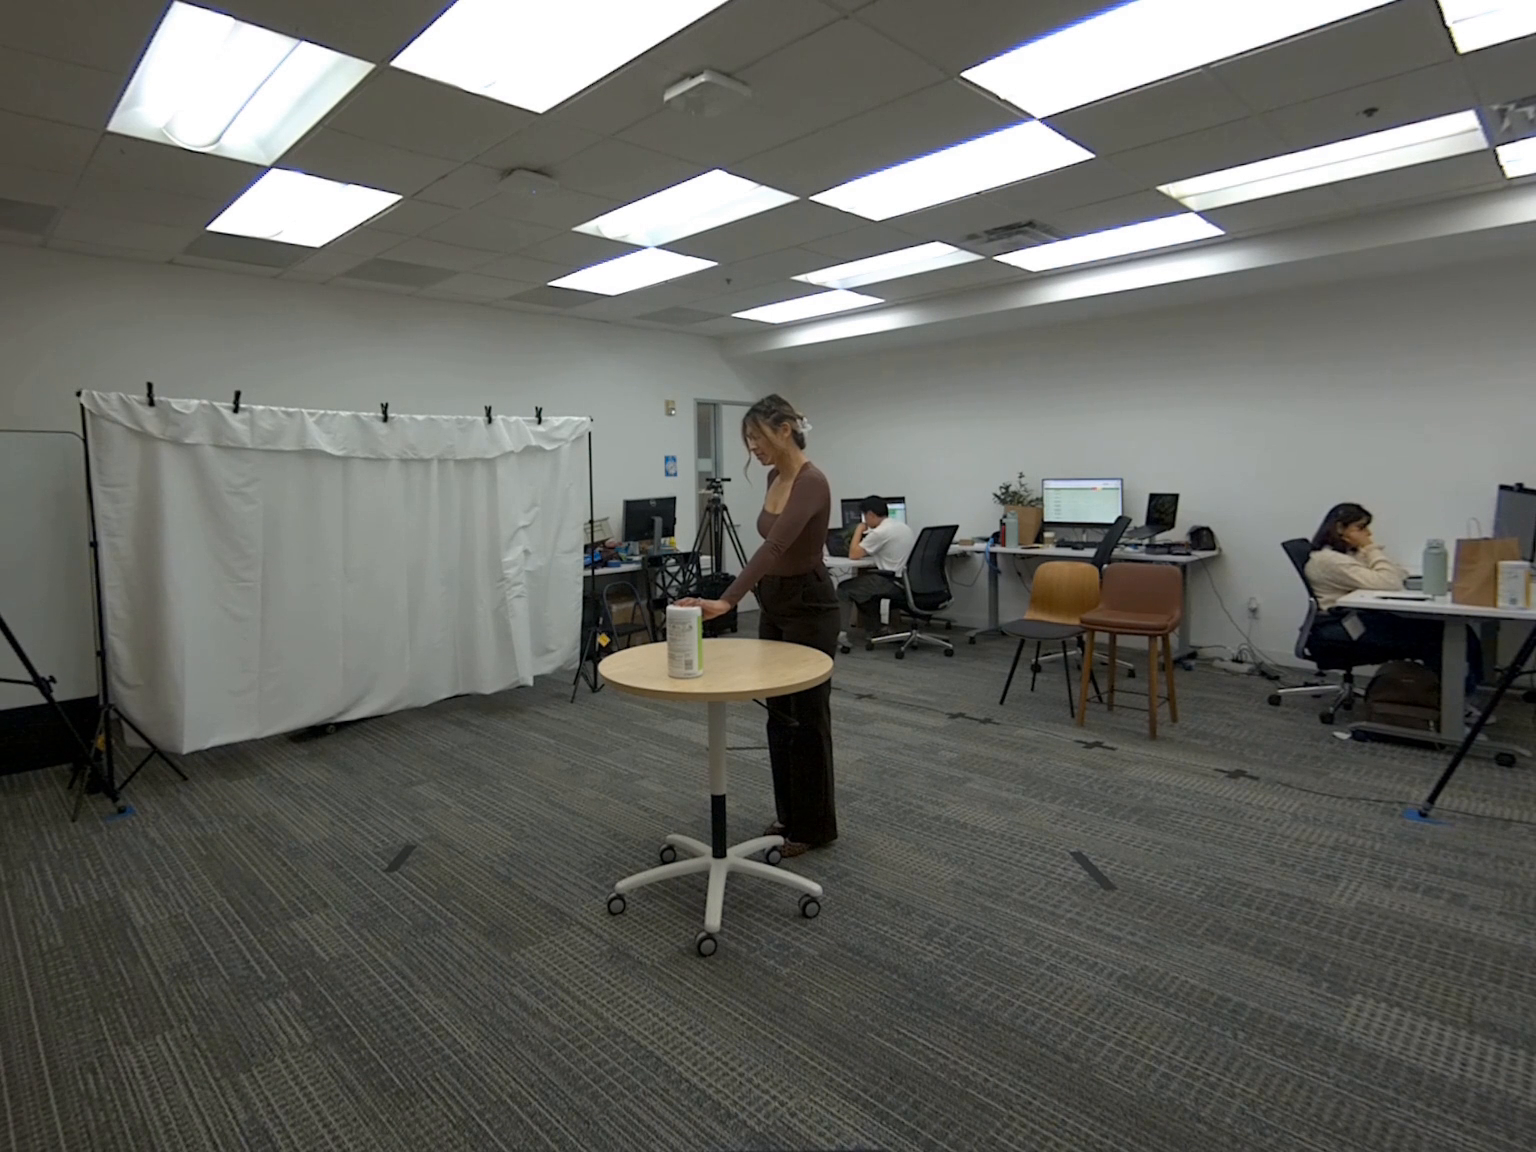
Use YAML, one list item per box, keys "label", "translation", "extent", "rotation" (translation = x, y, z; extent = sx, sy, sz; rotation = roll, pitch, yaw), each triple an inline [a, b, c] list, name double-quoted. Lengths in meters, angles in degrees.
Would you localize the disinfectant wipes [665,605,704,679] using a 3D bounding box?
- label: "disinfectant wipes"
  translation: [-0.252, 0.201, 2.621]
  extent: [0.118, 0.217, 0.118]
  rotation: [0, 2, -2]
